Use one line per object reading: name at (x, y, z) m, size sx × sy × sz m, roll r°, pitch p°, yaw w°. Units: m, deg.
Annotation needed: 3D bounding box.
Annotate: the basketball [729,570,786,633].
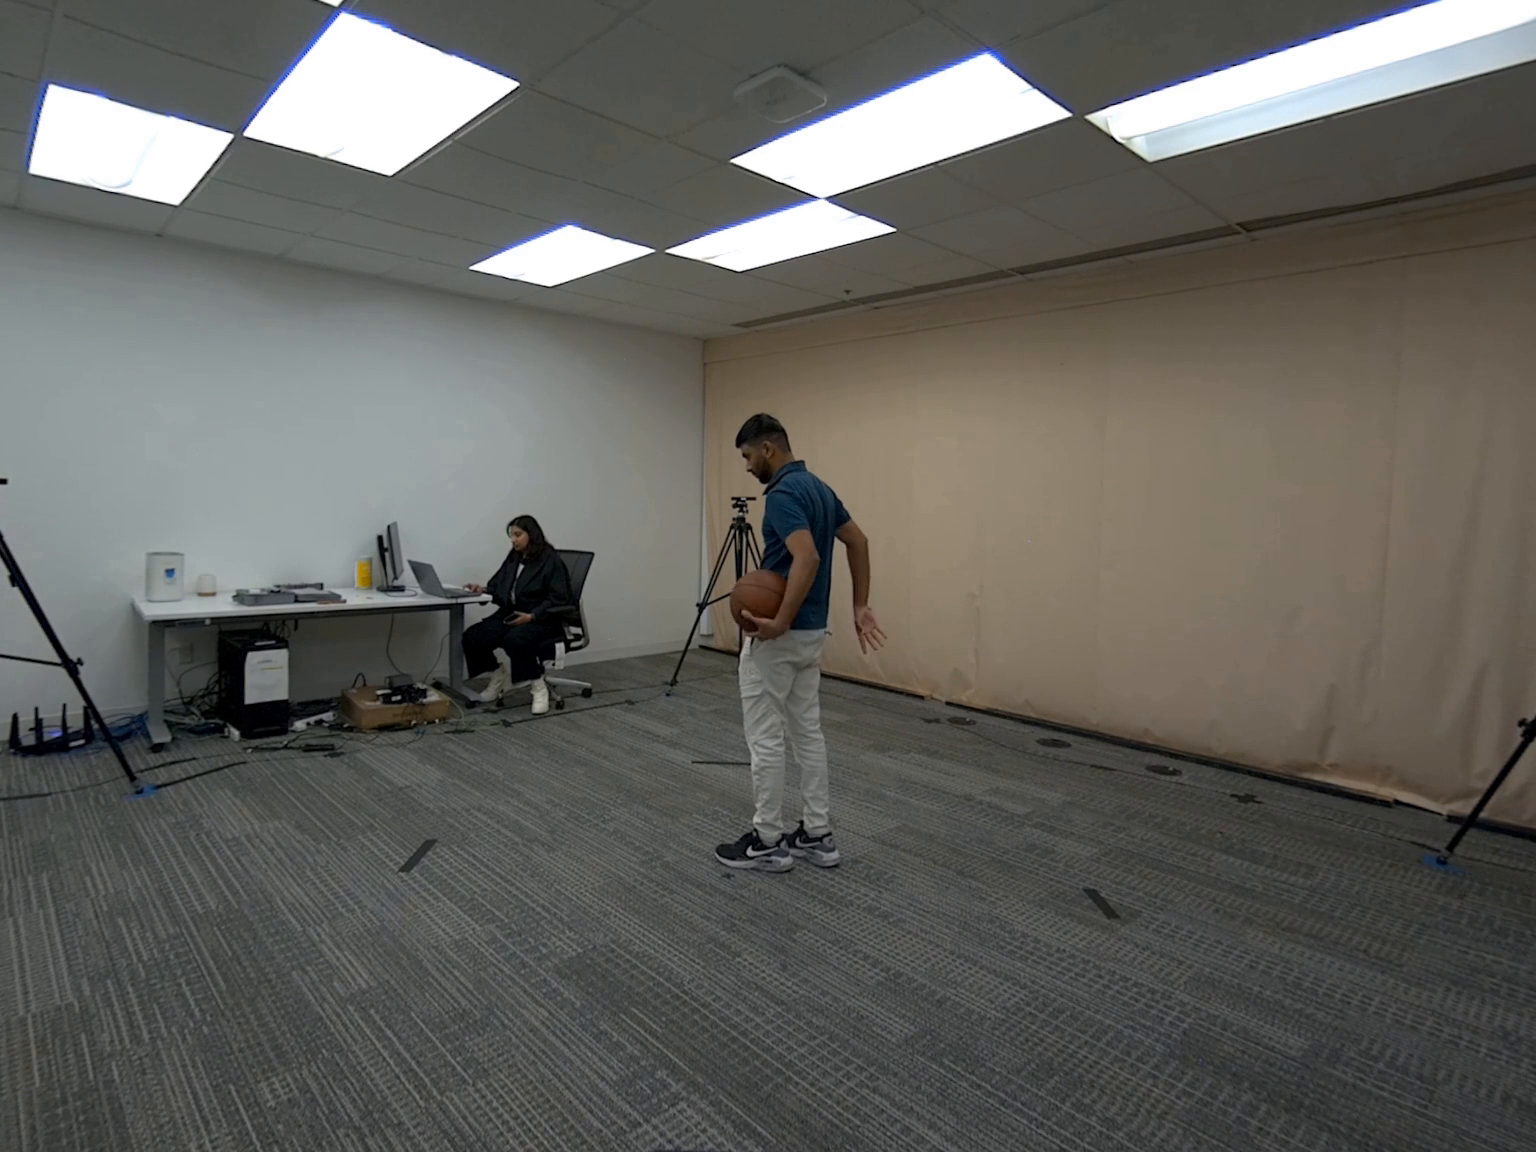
basketball at (-0.033, 0.092, 3.011) m, size 0.236 × 0.235 × 0.237 m, roll 1°, pitch 4°, yaw -1°
